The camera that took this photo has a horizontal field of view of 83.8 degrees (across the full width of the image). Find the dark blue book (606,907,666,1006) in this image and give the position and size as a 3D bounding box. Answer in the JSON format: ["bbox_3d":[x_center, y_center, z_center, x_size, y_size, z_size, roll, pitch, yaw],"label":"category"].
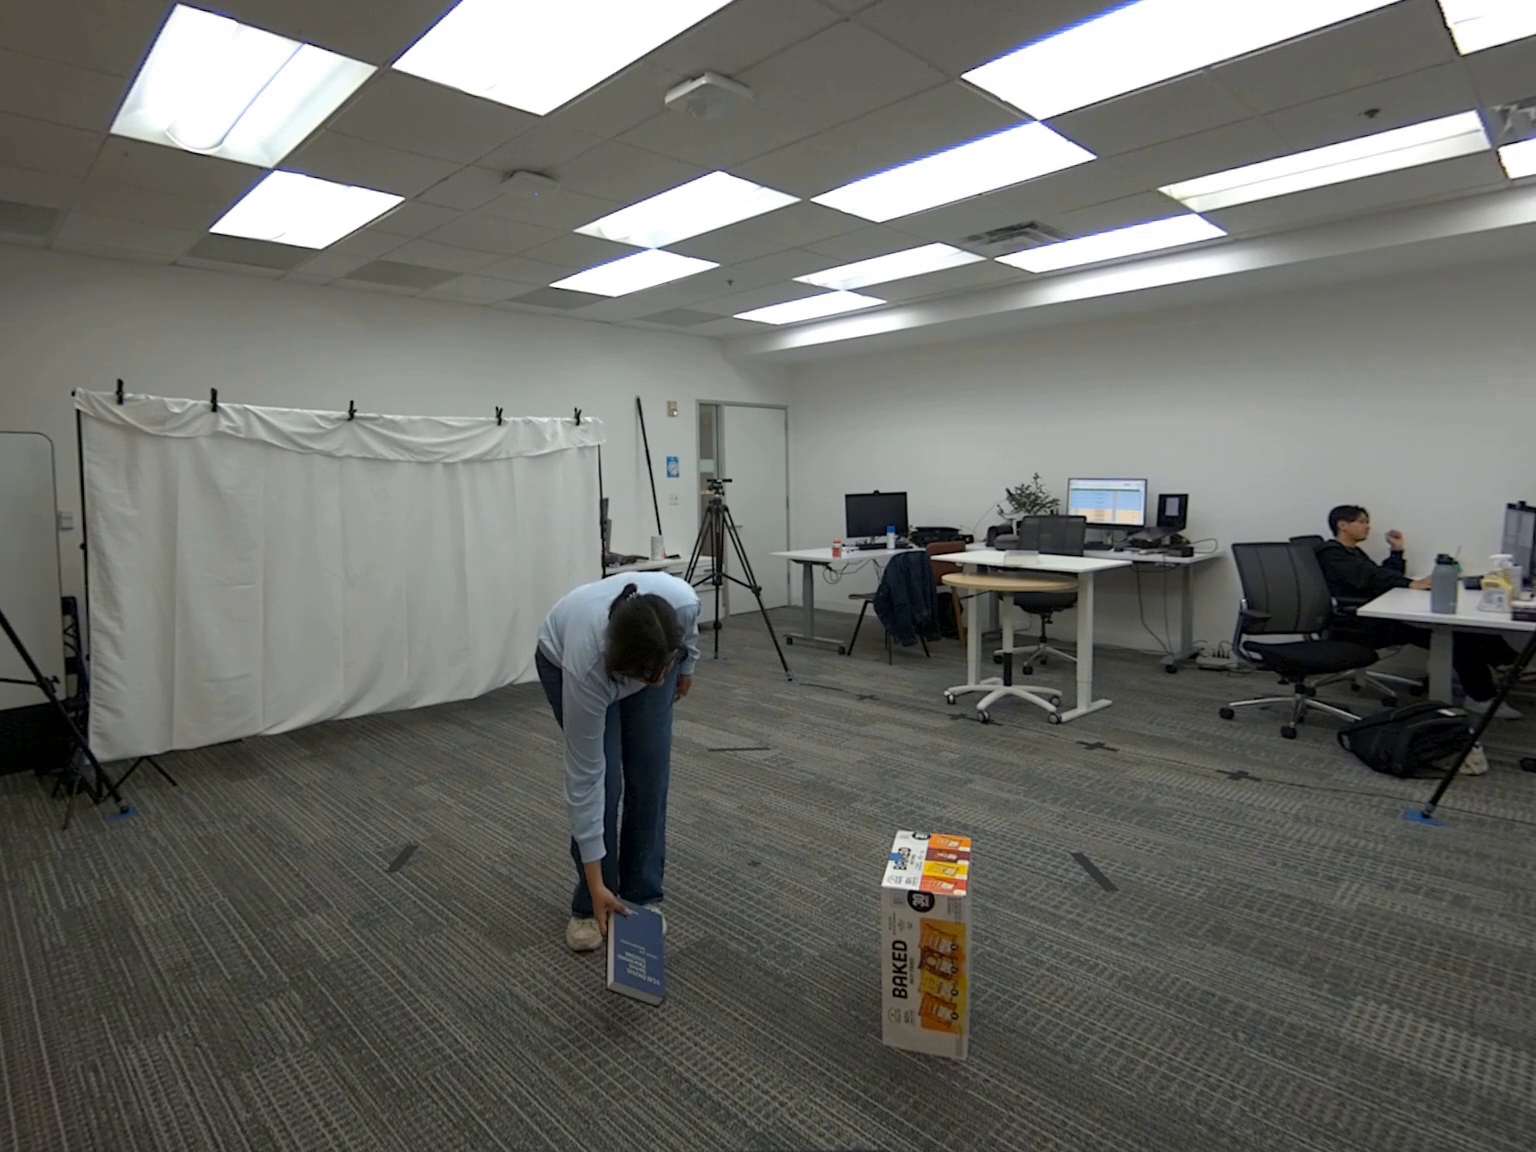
[{"bbox_3d":[-0.348,0.989,2.255,0.159,0.045,0.252,30,22,-23],"label":"dark blue book"}]
